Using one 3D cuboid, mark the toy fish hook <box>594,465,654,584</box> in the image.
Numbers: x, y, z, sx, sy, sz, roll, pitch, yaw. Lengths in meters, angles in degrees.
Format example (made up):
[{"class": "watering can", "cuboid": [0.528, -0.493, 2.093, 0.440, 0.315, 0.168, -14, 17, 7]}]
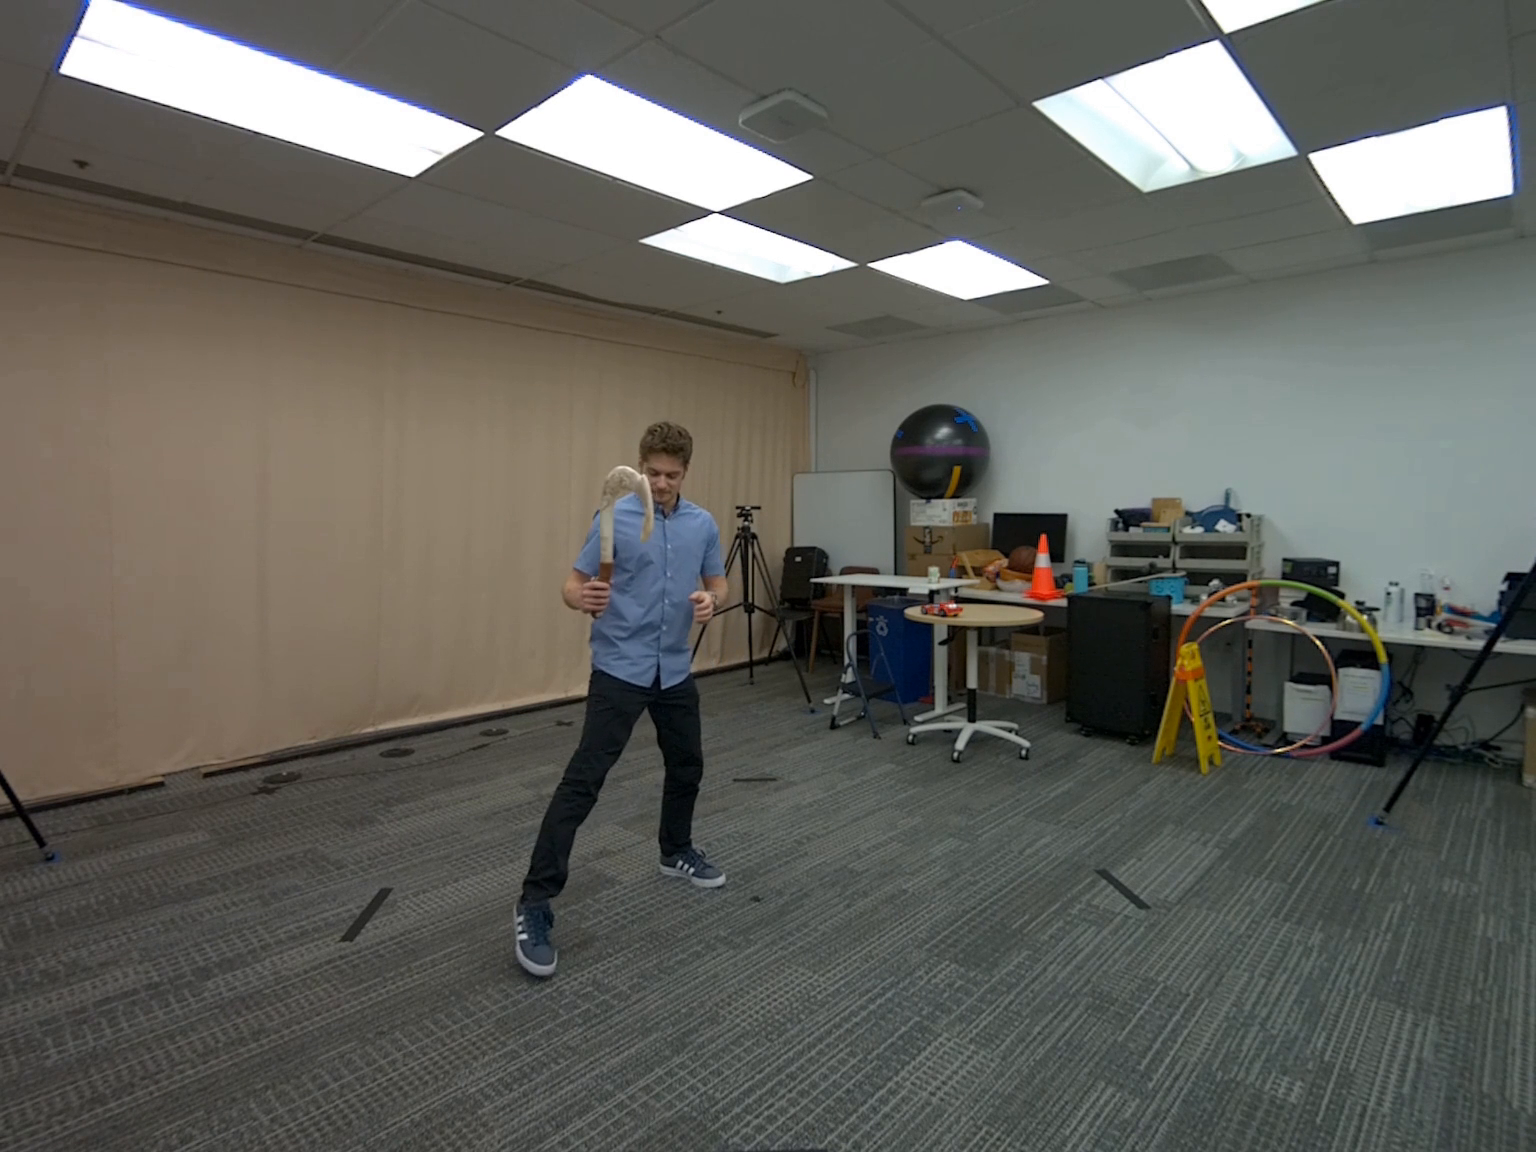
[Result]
[{"class": "toy fish hook", "cuboid": [-0.443, -0.071, 2.522, 0.233, 0.503, 0.047, 31, 26, 36]}]
